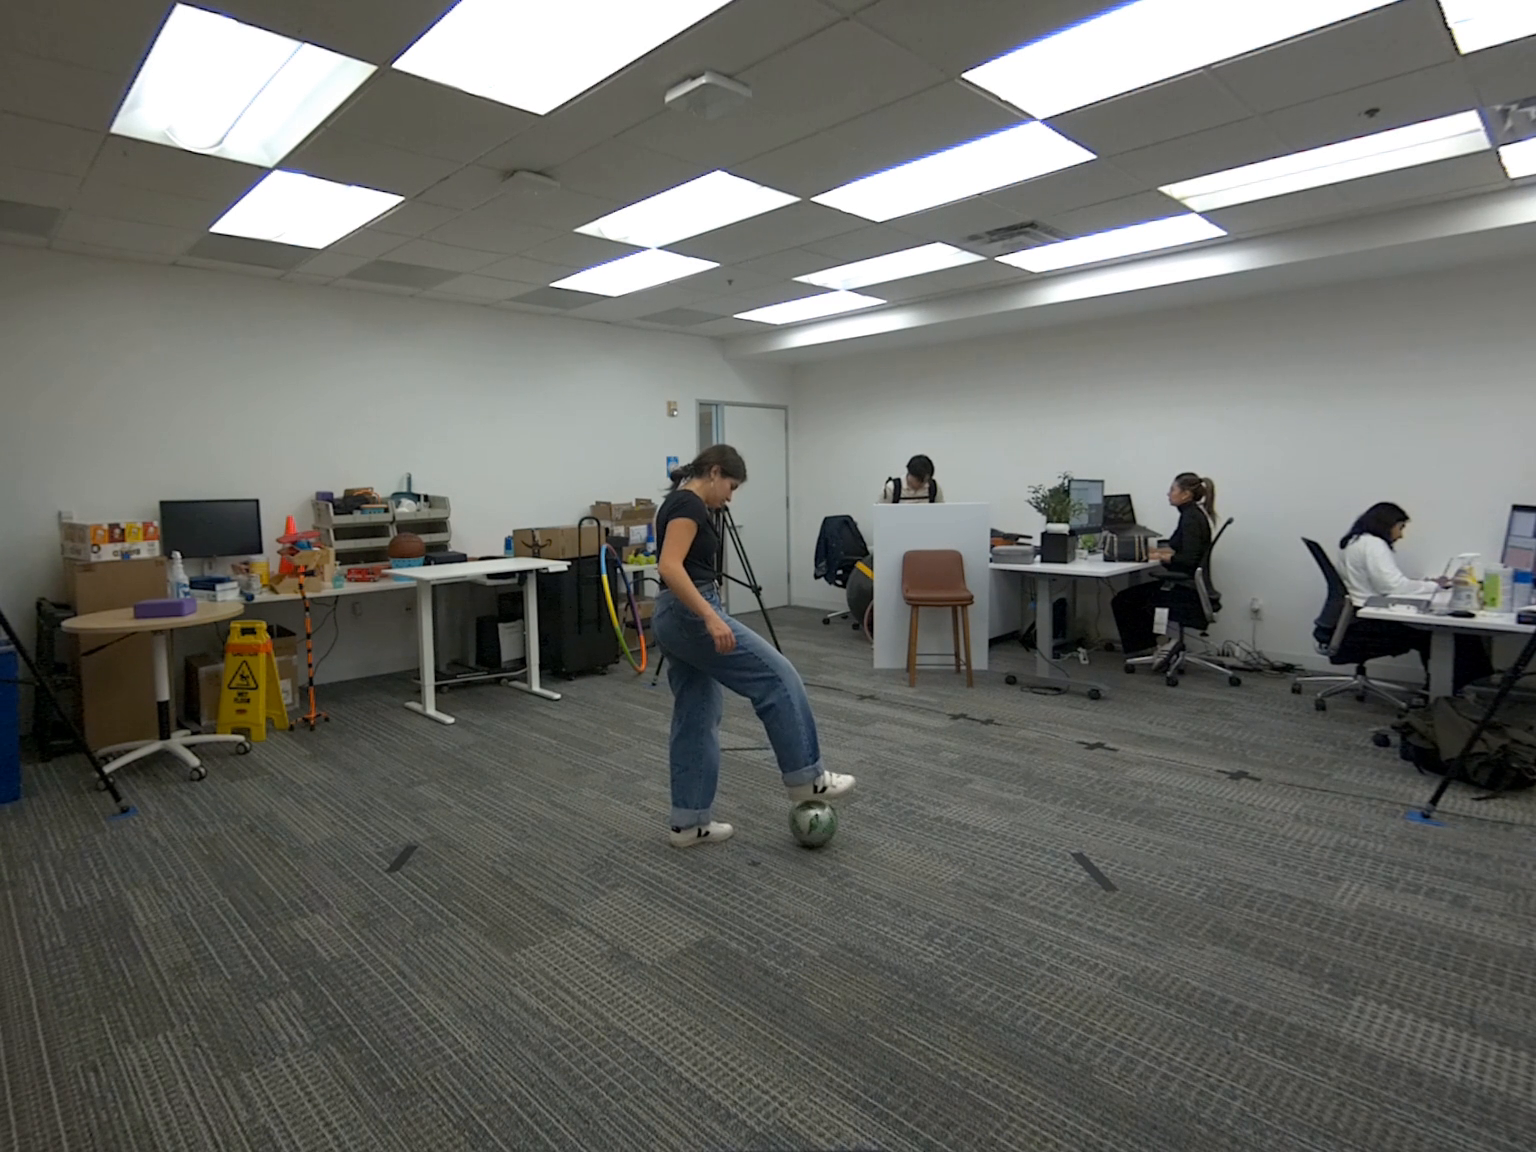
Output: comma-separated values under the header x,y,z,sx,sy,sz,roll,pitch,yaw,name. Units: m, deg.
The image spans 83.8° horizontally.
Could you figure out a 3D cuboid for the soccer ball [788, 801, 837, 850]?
x,y,z,sx,sy,sz,roll,pitch,yaw,name
0.168,0.926,3.252,0.187,0.187,0.188,-1,5,-2,soccer ball
